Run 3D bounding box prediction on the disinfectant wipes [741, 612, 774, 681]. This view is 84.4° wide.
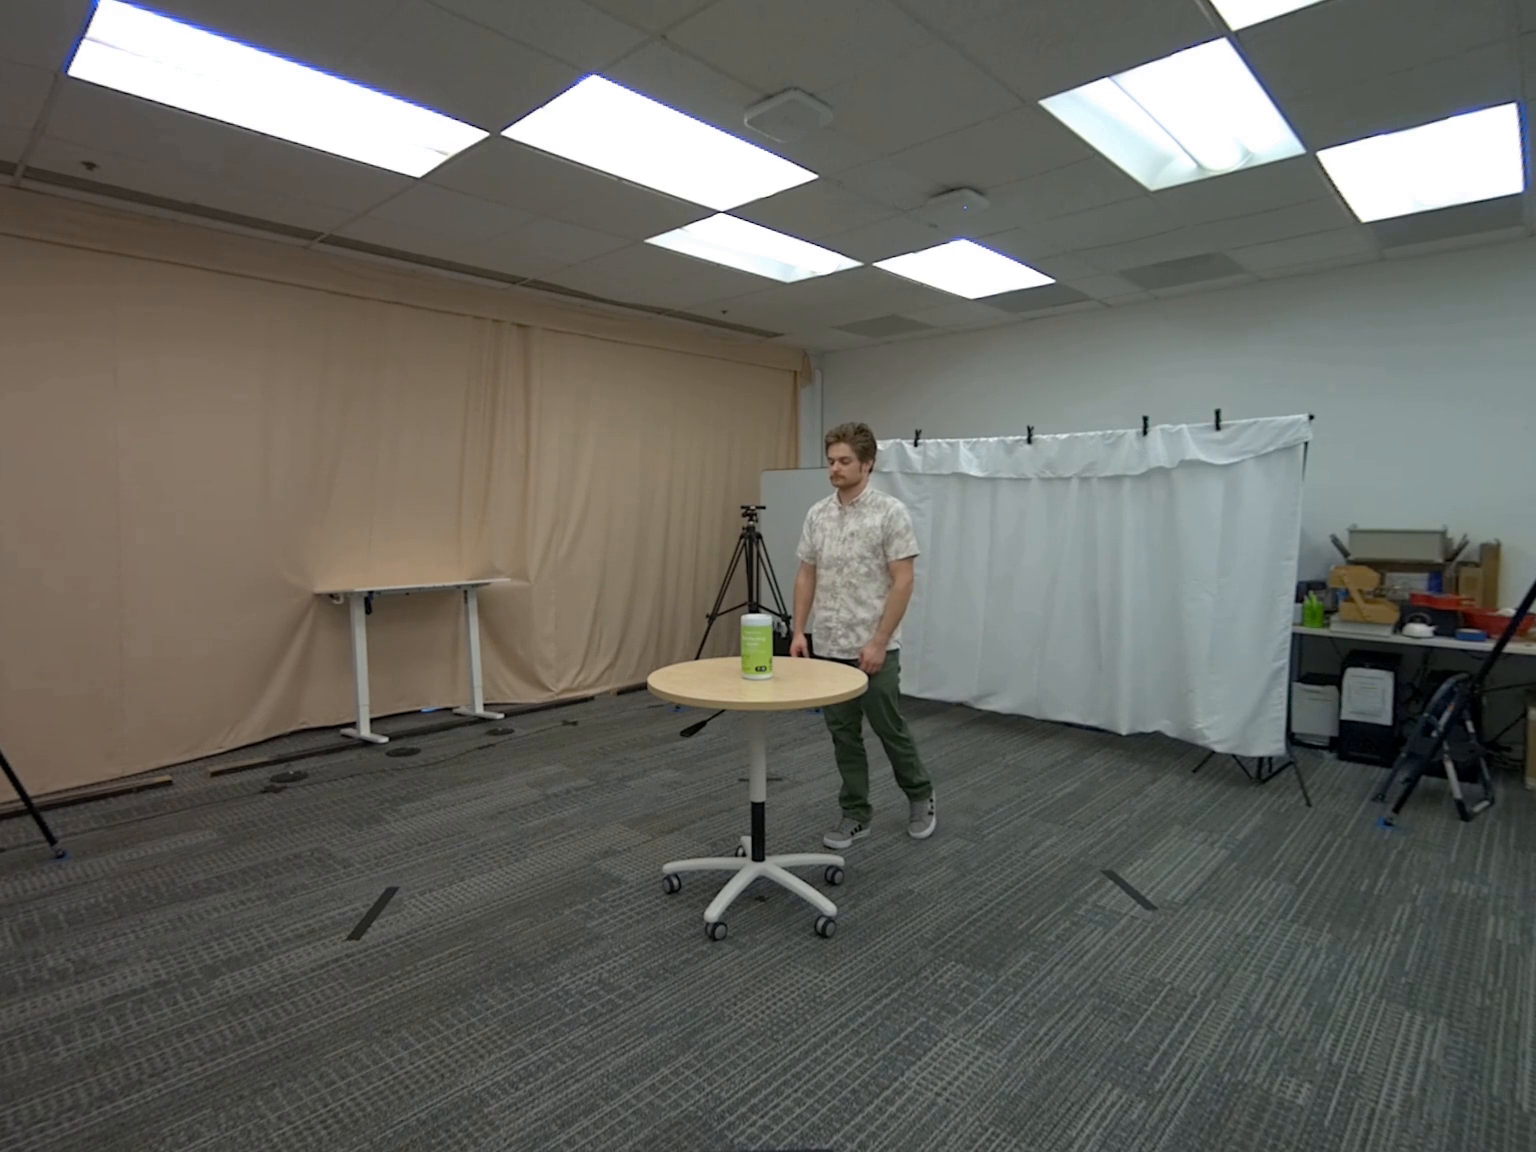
[{"bbox_3d":[-0.036,0.246,2.927,0.118,0.217,0.118,0,3,-2],"label":"disinfectant wipes"}]
